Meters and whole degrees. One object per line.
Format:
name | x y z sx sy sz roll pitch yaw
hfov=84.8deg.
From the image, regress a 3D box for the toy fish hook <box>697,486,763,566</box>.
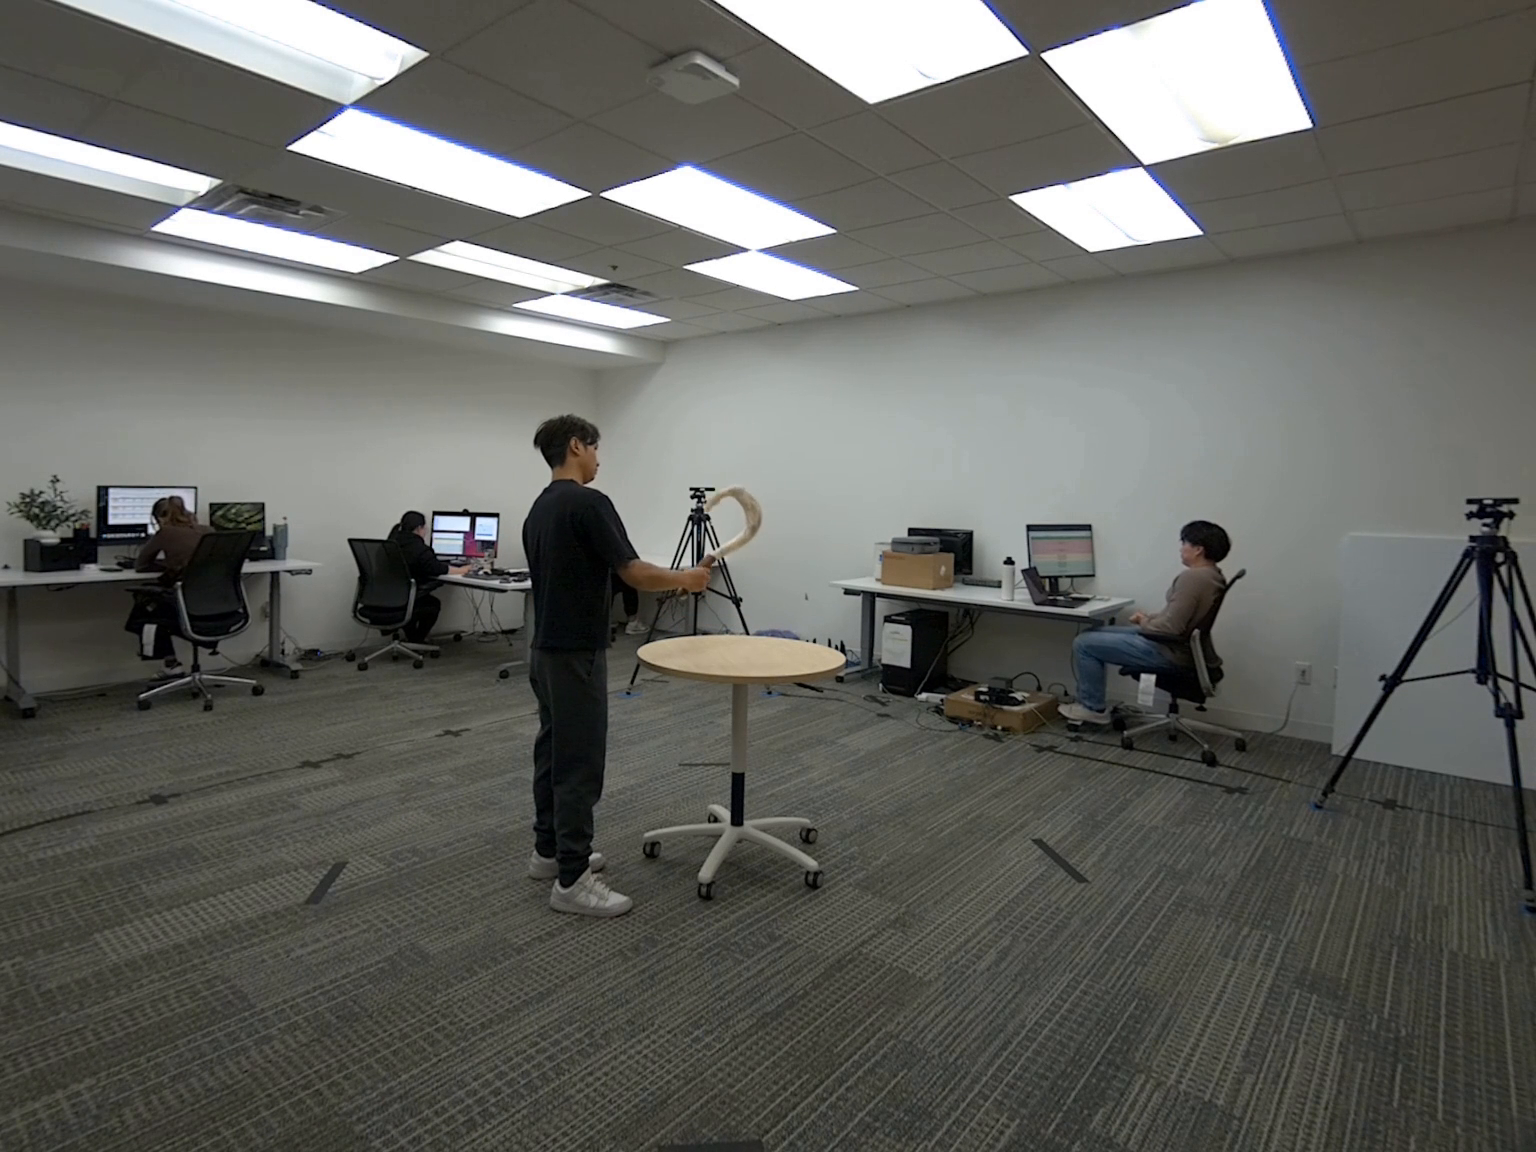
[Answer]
toy fish hook | -0.224 -0.136 3.105 0.507 0.223 0.048 -49 6 -27
